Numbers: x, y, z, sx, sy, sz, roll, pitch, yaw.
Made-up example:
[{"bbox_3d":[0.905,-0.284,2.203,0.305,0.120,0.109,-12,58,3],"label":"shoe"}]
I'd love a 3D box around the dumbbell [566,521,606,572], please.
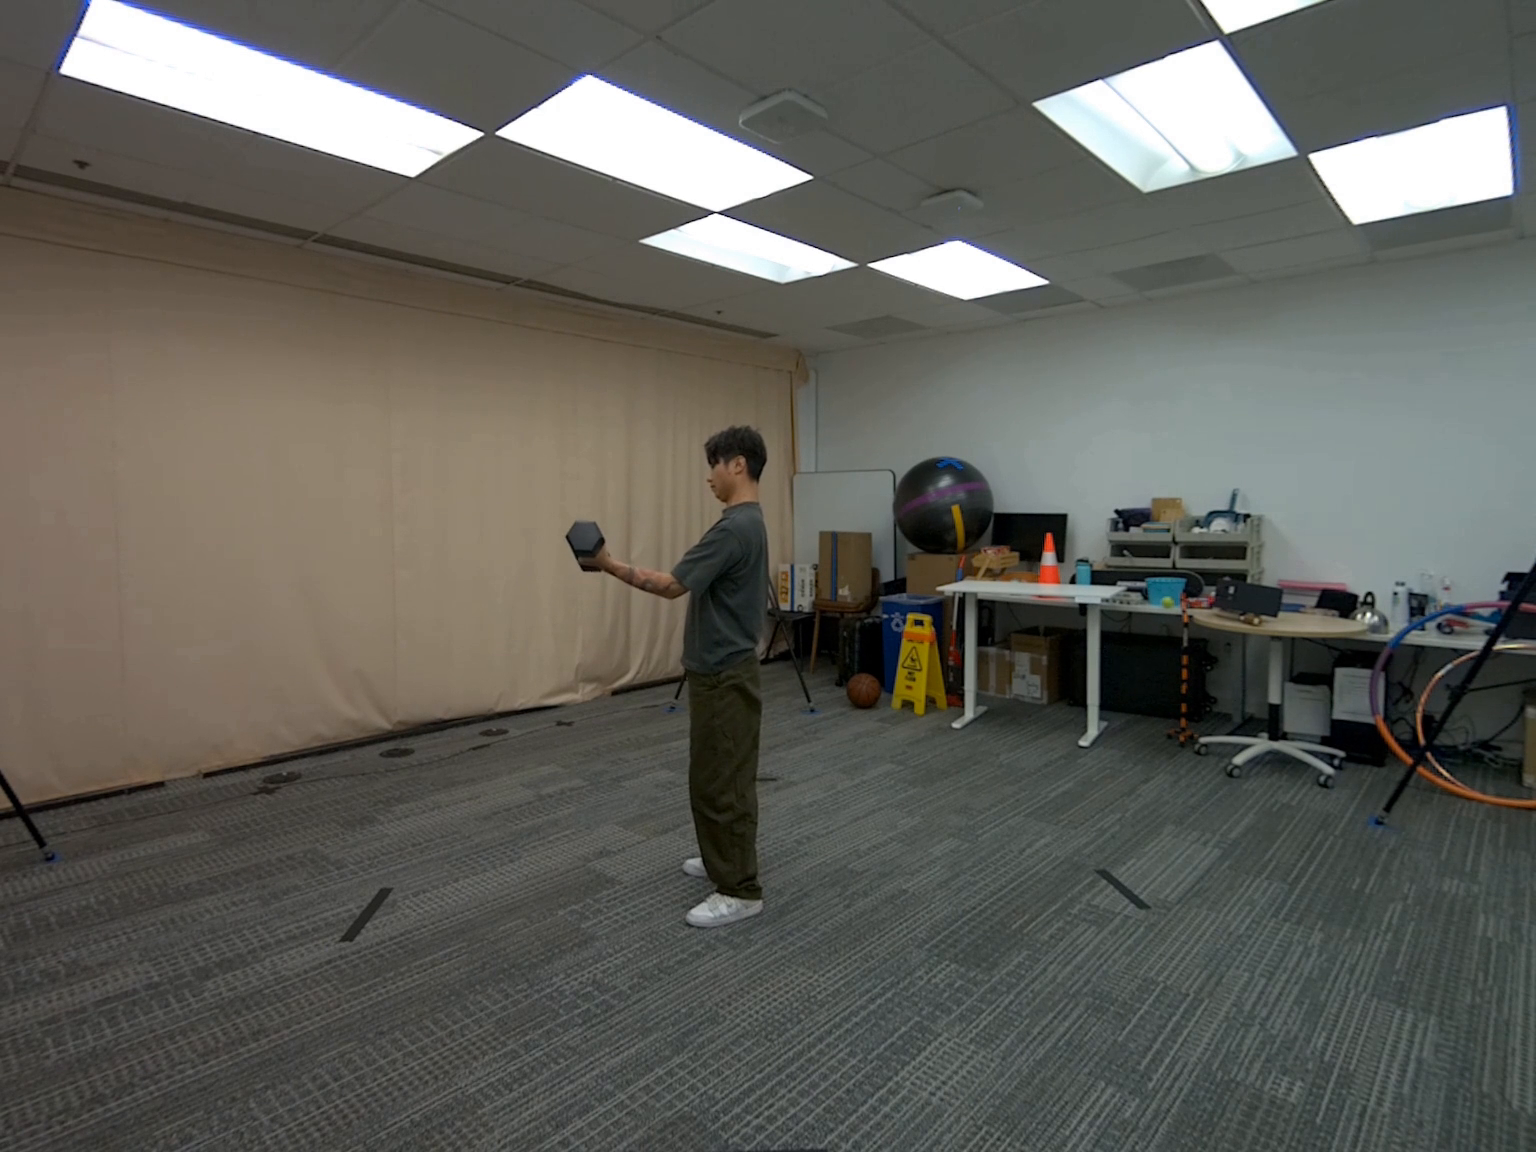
[{"bbox_3d":[-0.582,-0.099,2.770,0.109,0.123,0.293,30,-14,0],"label":"dumbbell"}]
